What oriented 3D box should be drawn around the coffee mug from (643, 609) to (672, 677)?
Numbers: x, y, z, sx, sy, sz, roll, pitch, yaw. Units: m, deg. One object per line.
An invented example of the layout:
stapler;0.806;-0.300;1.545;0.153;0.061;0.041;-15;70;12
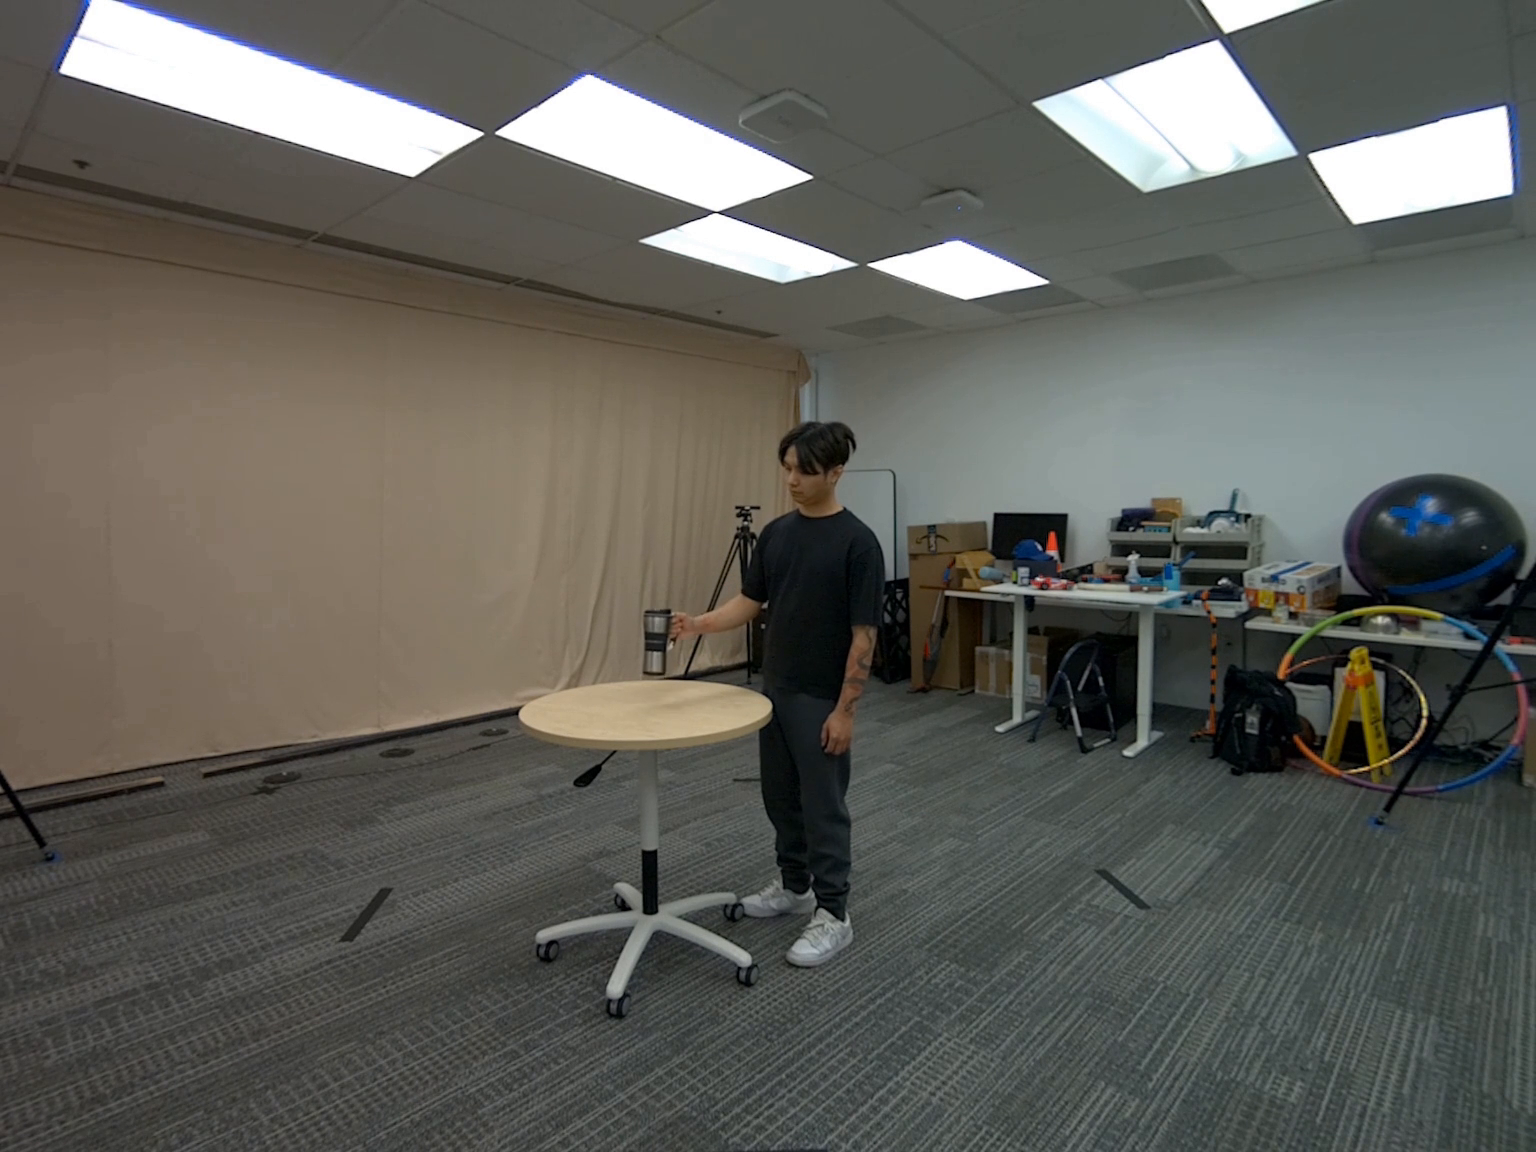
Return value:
coffee mug;-0.318;0.203;2.616;0.118;0.203;0.090;2;-4;-32
